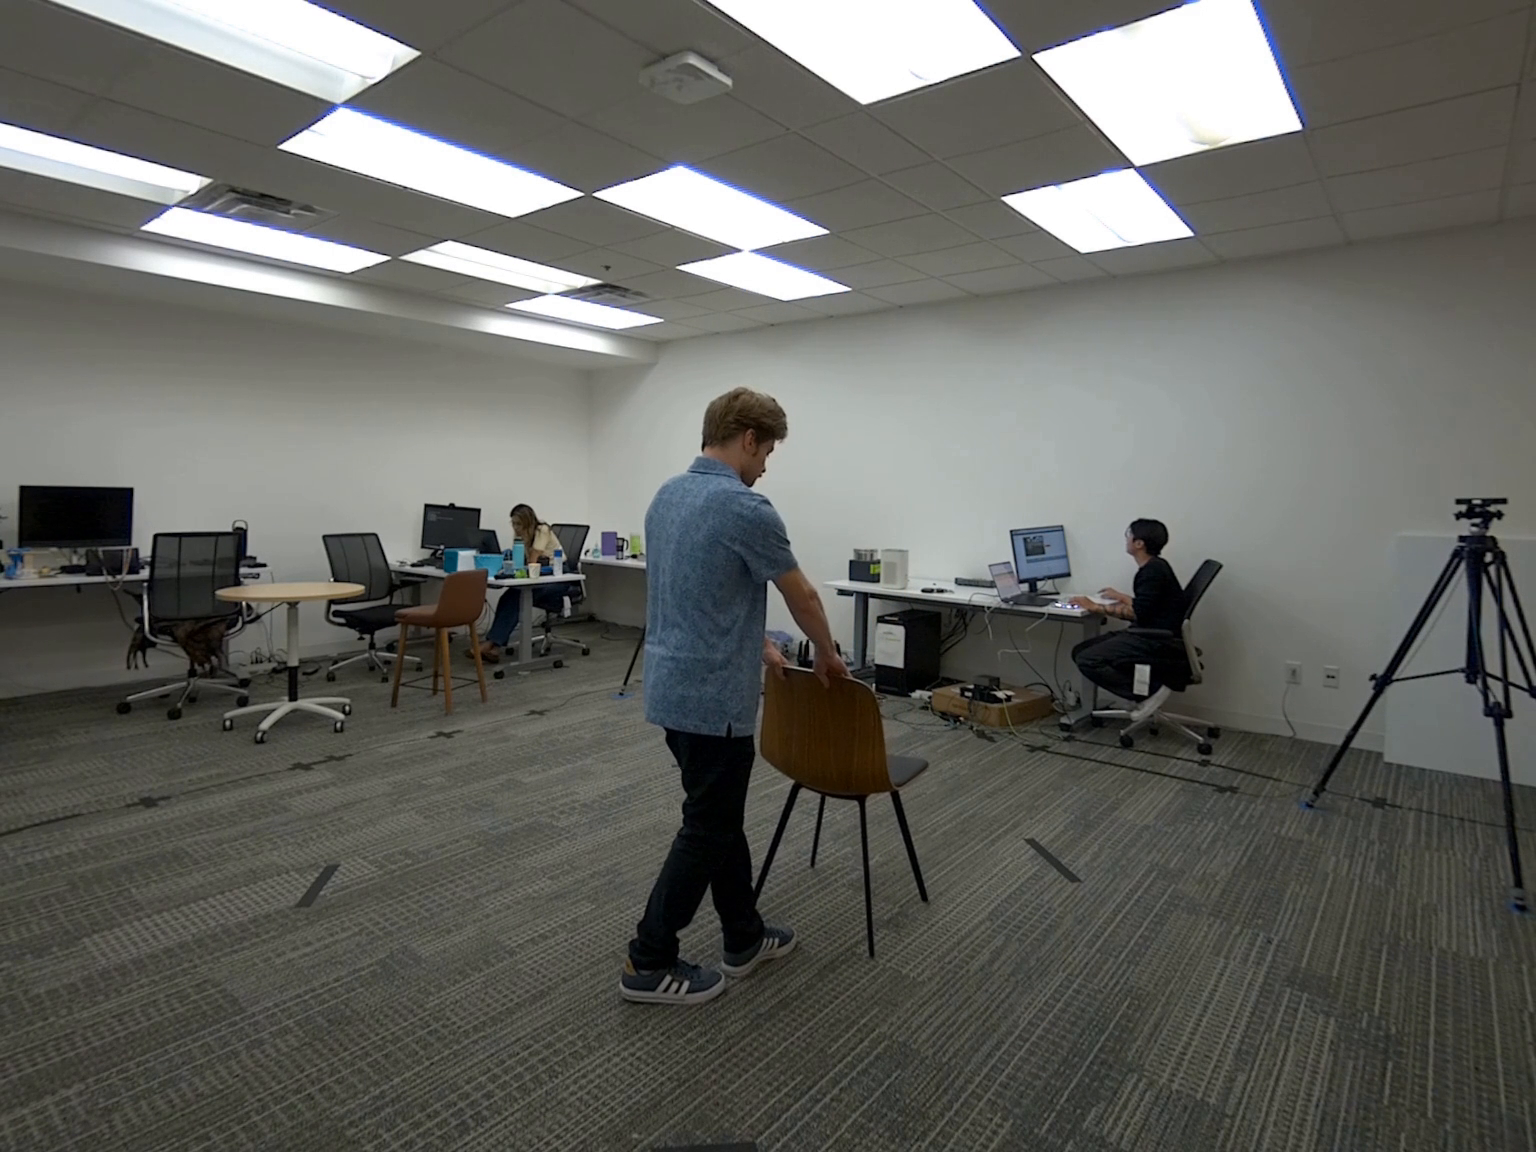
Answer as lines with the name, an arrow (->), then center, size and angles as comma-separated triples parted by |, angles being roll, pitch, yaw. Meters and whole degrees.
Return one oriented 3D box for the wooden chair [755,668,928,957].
wooden chair -> 0.245, 0.677, 2.830 | 0.493, 0.872, 0.510 | 3, 8, 33
